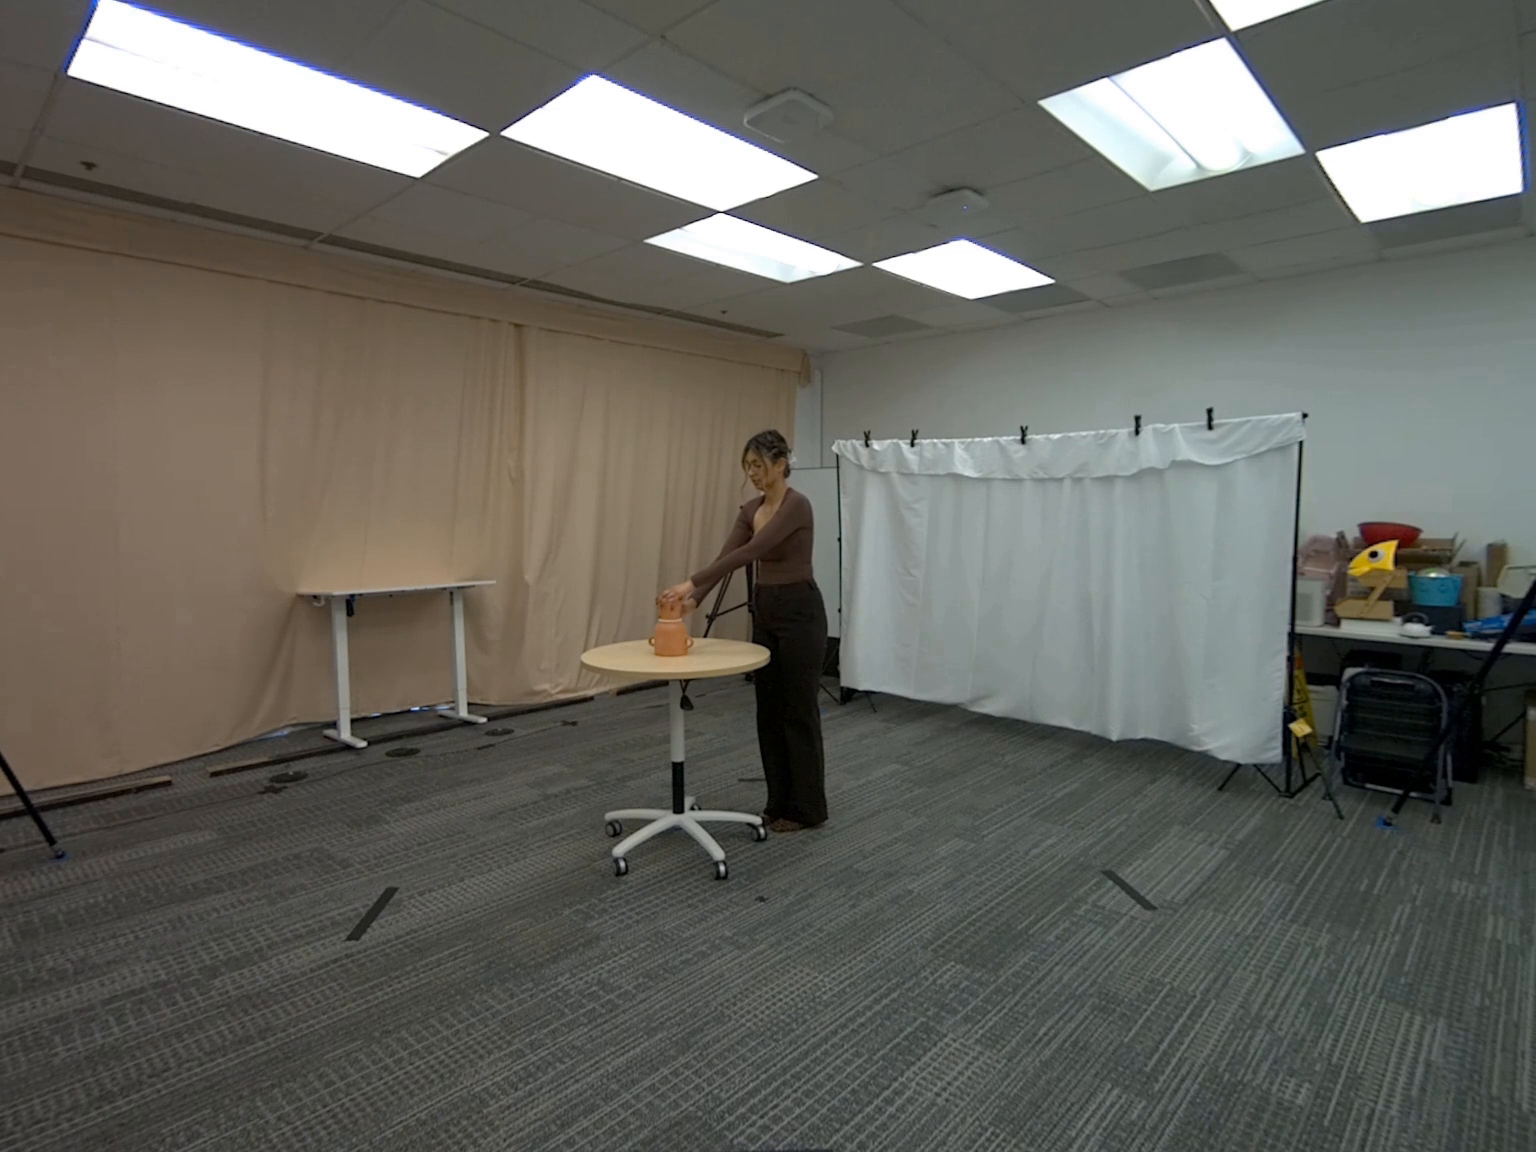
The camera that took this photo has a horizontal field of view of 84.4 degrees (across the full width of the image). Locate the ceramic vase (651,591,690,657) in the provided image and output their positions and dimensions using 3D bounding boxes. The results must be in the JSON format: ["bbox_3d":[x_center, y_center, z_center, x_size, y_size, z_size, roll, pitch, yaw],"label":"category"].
[{"bbox_3d":[-0.393,0.206,3.405,0.155,0.219,0.137,-1,2,-21],"label":"ceramic vase"}]
